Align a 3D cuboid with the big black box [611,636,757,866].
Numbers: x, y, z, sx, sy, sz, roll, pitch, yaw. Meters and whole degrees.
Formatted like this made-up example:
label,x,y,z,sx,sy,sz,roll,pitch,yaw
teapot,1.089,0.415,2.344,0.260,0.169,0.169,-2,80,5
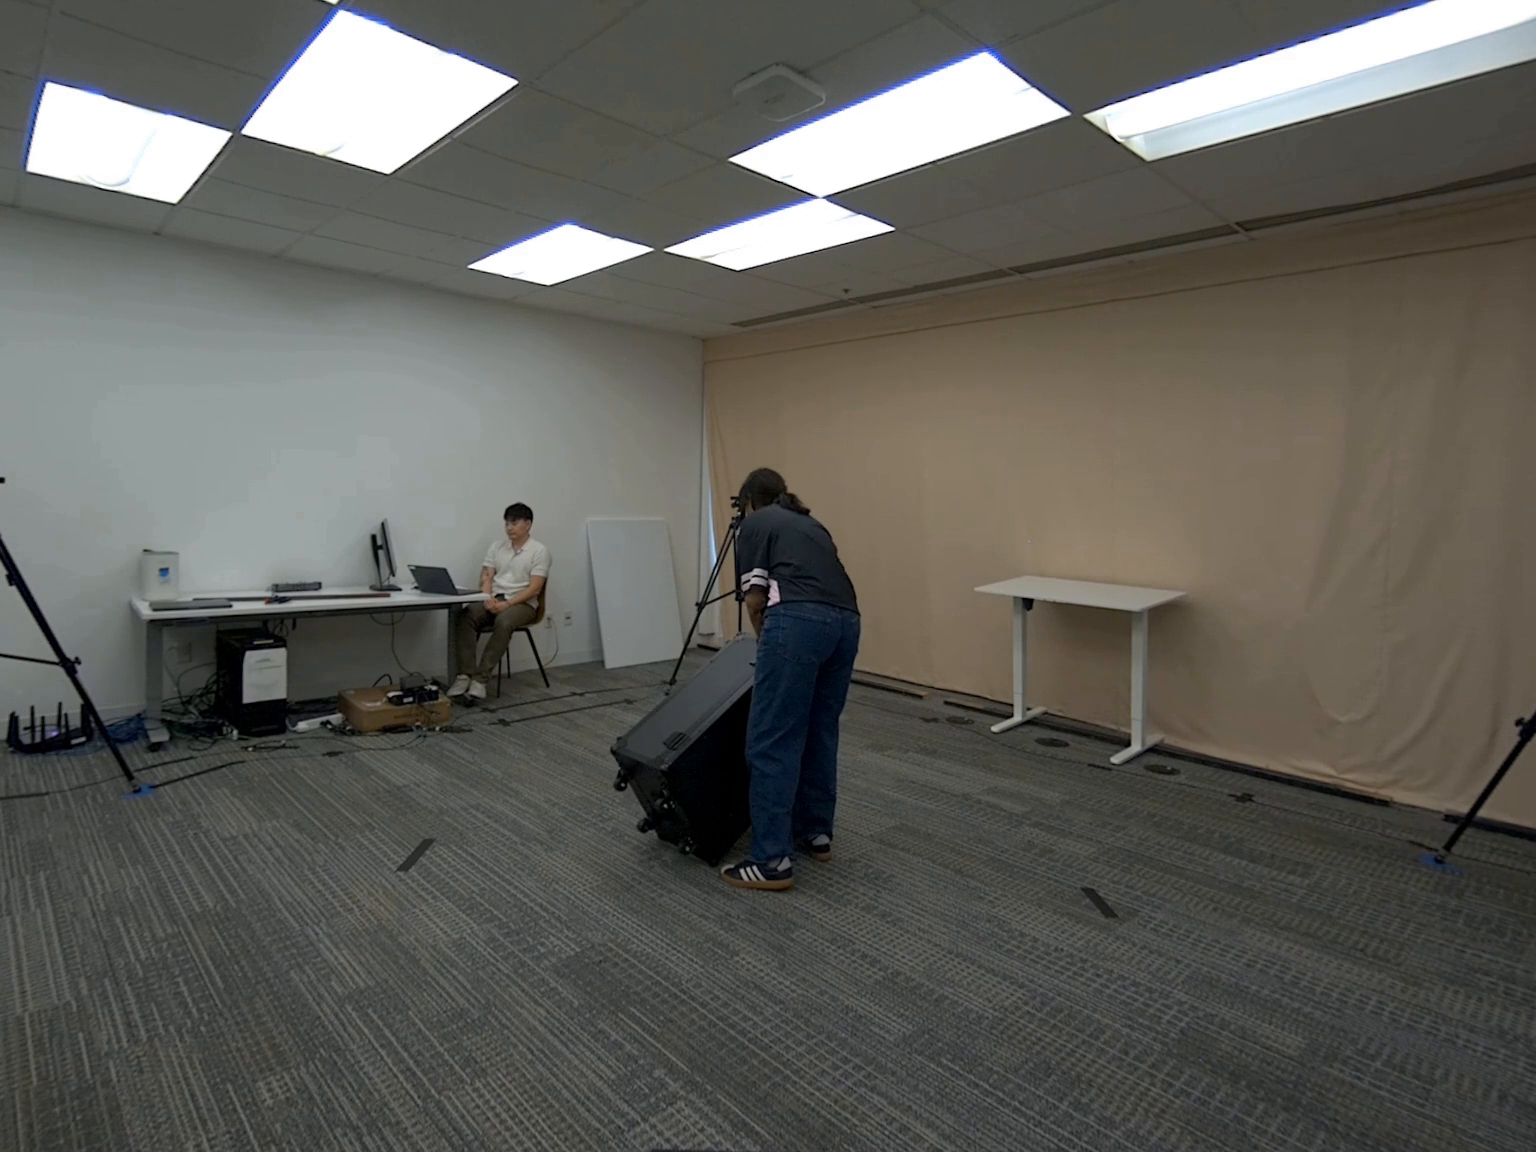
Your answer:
label,x,y,z,sx,sy,sz,roll,pitch,yaw
big black box,-0.200,0.683,3.403,0.395,0.512,0.865,6,38,46
